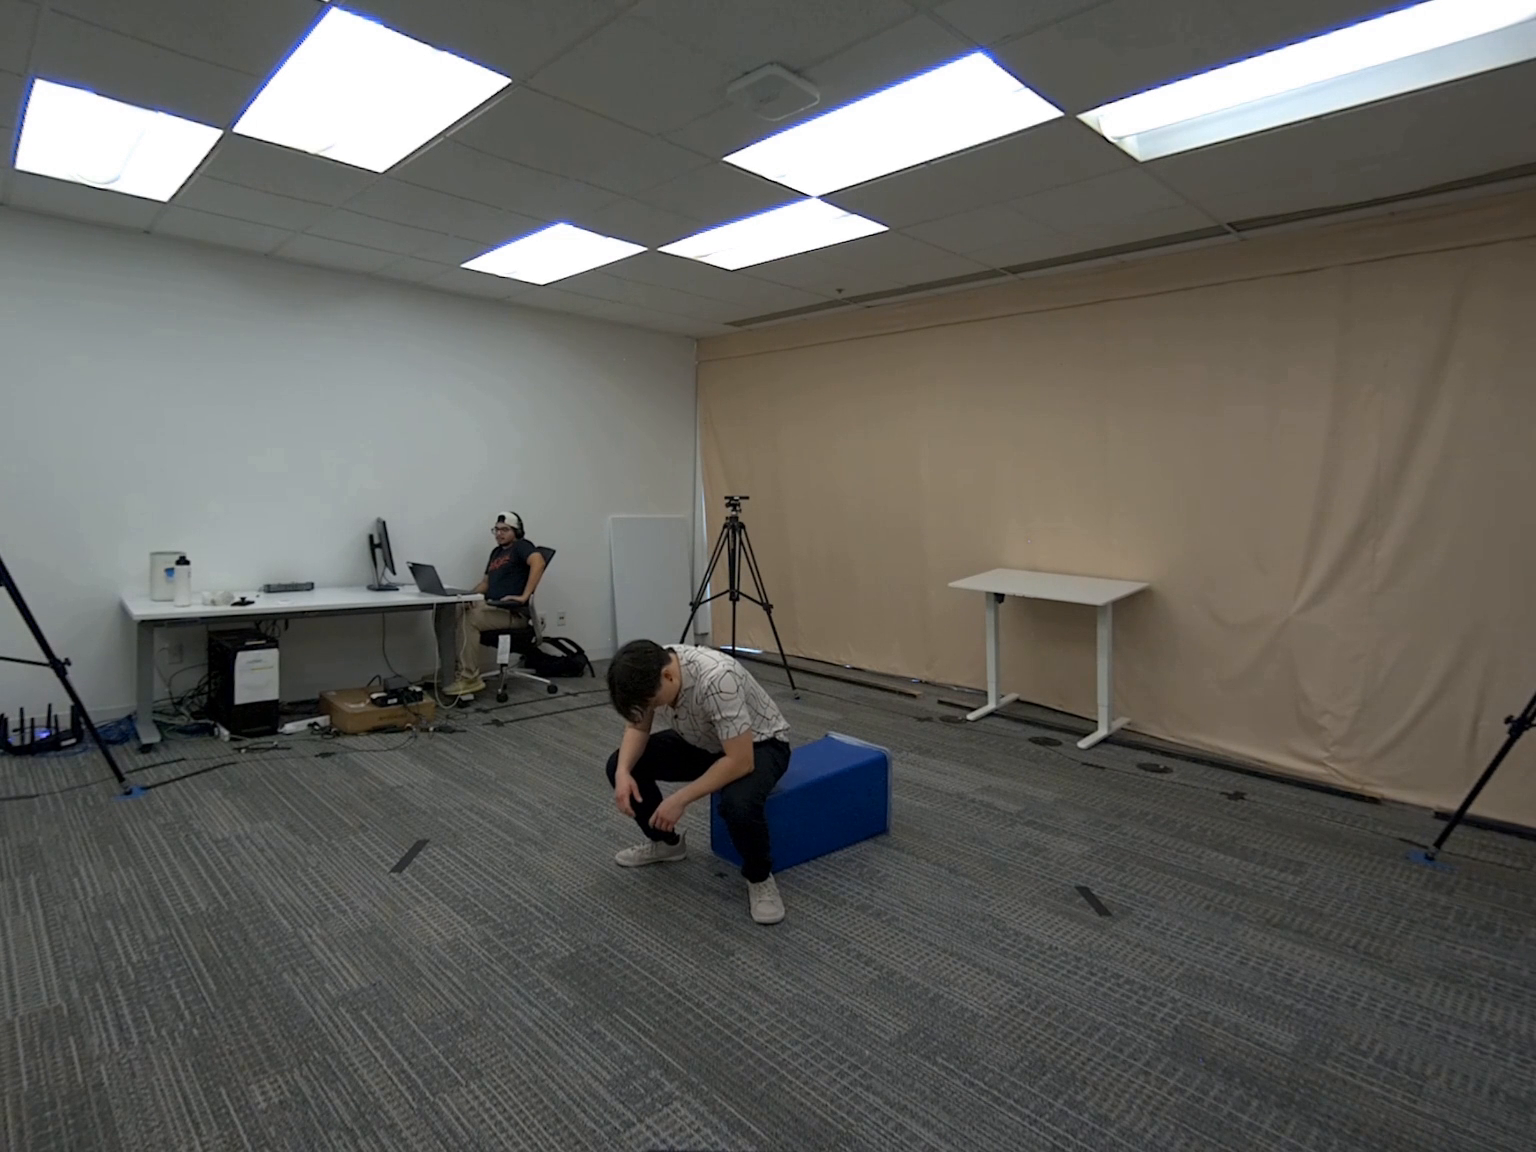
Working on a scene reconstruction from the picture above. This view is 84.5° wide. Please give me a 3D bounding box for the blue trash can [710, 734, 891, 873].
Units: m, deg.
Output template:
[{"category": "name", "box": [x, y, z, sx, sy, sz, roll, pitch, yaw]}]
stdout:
[{"category": "blue trash can", "box": [0.121, 0.910, 3.410, 0.698, 0.377, 0.384, -5, 7, -41]}]
